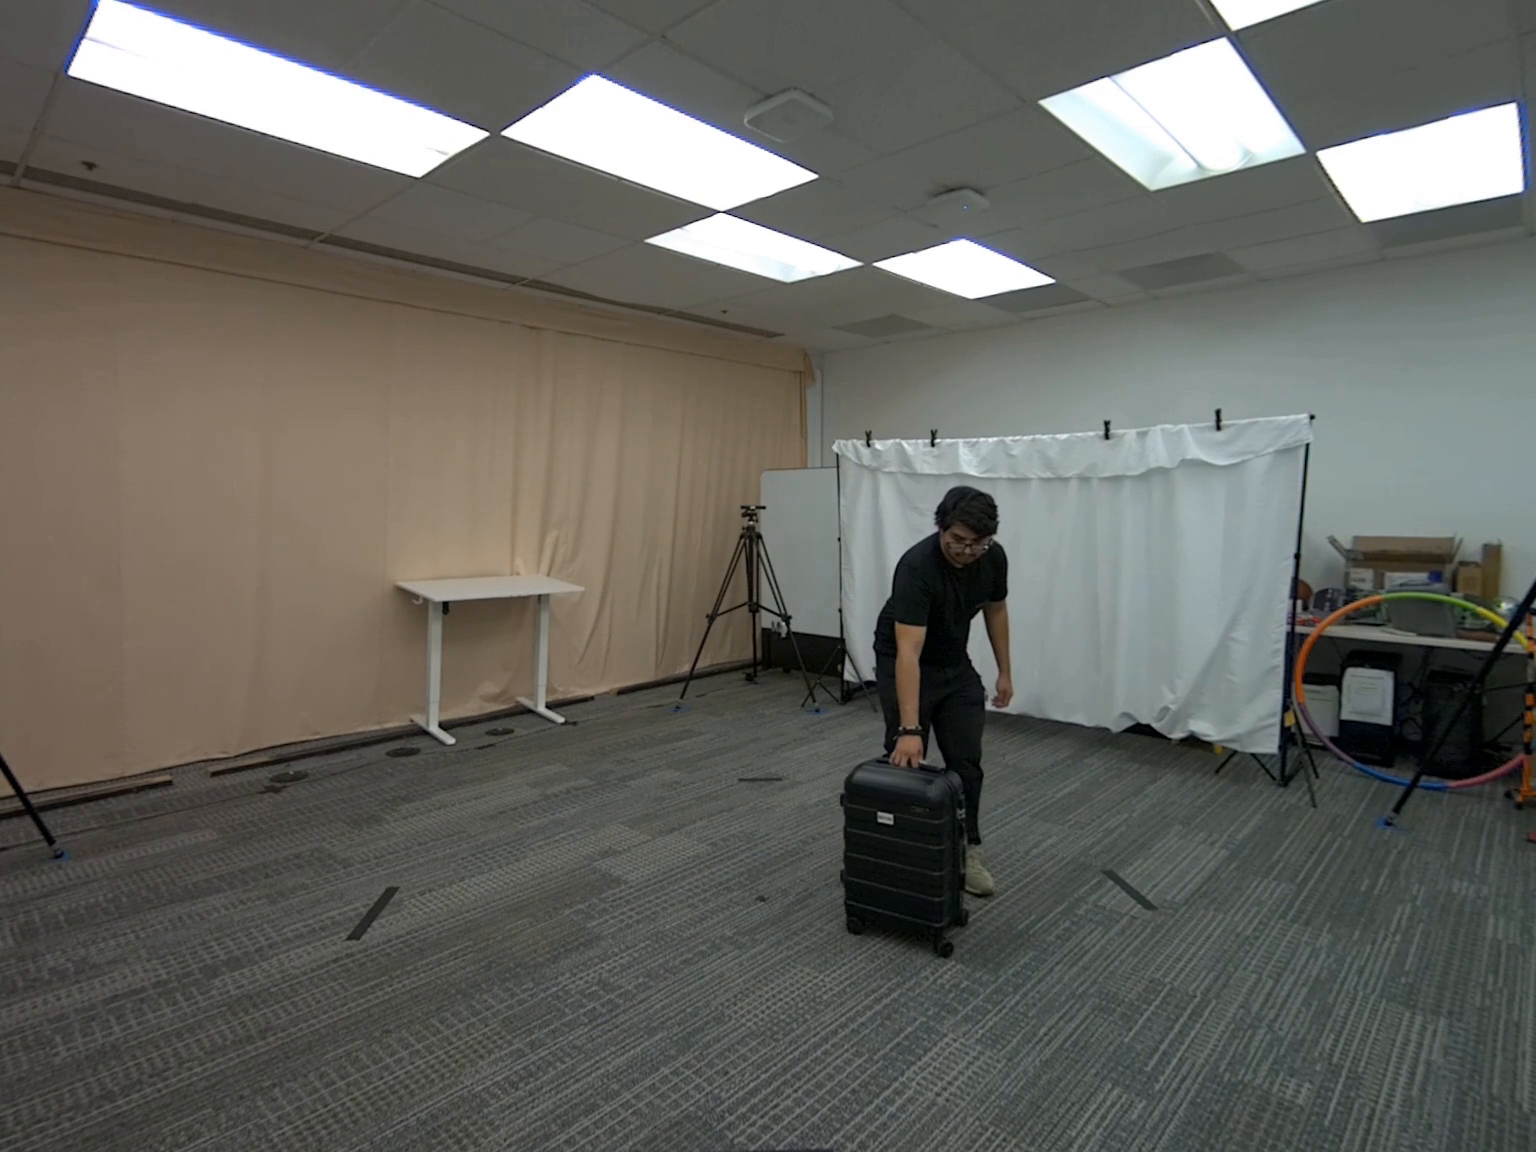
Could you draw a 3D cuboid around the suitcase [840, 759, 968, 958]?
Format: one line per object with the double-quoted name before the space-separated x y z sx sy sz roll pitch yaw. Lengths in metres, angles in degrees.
"suitcase" 0.448 0.891 2.754 0.386 0.548 0.242 1 5 31
